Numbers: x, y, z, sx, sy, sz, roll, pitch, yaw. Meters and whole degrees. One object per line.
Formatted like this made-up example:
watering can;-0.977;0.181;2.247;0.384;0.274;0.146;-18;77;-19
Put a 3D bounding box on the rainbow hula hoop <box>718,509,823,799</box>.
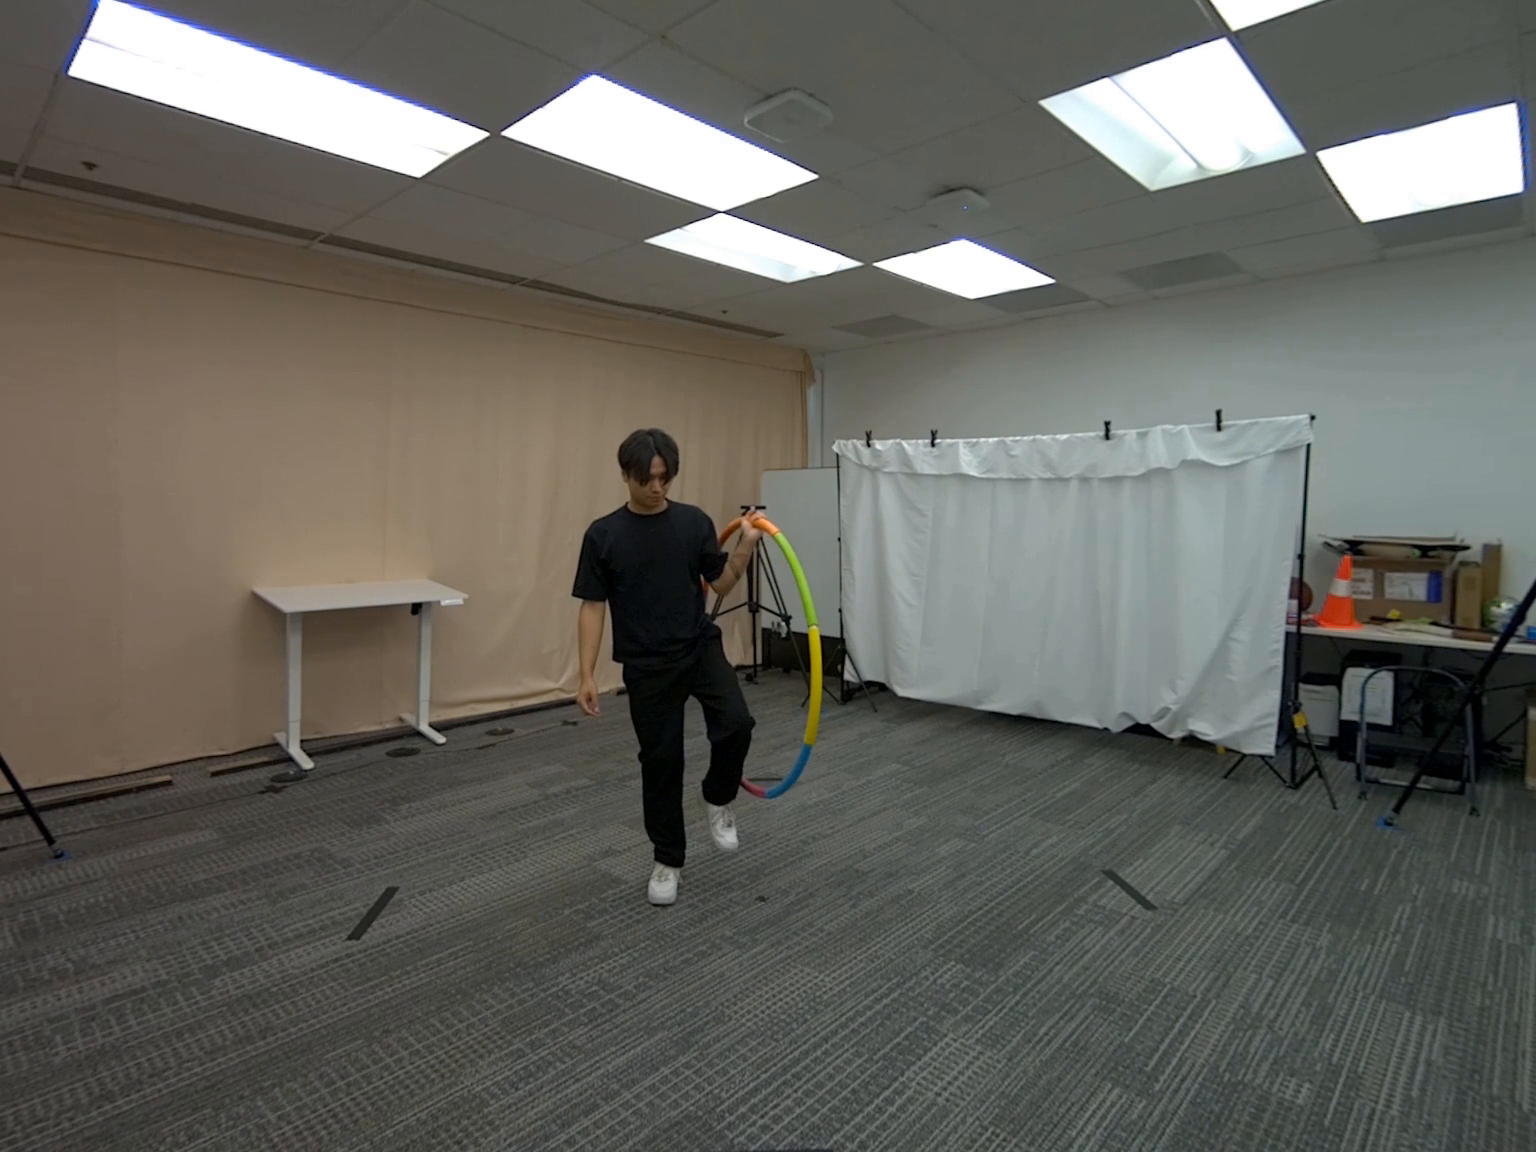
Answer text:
rainbow hula hoop;-0.049;0.278;3.025;0.035;0.977;1.004;1;3;-26
